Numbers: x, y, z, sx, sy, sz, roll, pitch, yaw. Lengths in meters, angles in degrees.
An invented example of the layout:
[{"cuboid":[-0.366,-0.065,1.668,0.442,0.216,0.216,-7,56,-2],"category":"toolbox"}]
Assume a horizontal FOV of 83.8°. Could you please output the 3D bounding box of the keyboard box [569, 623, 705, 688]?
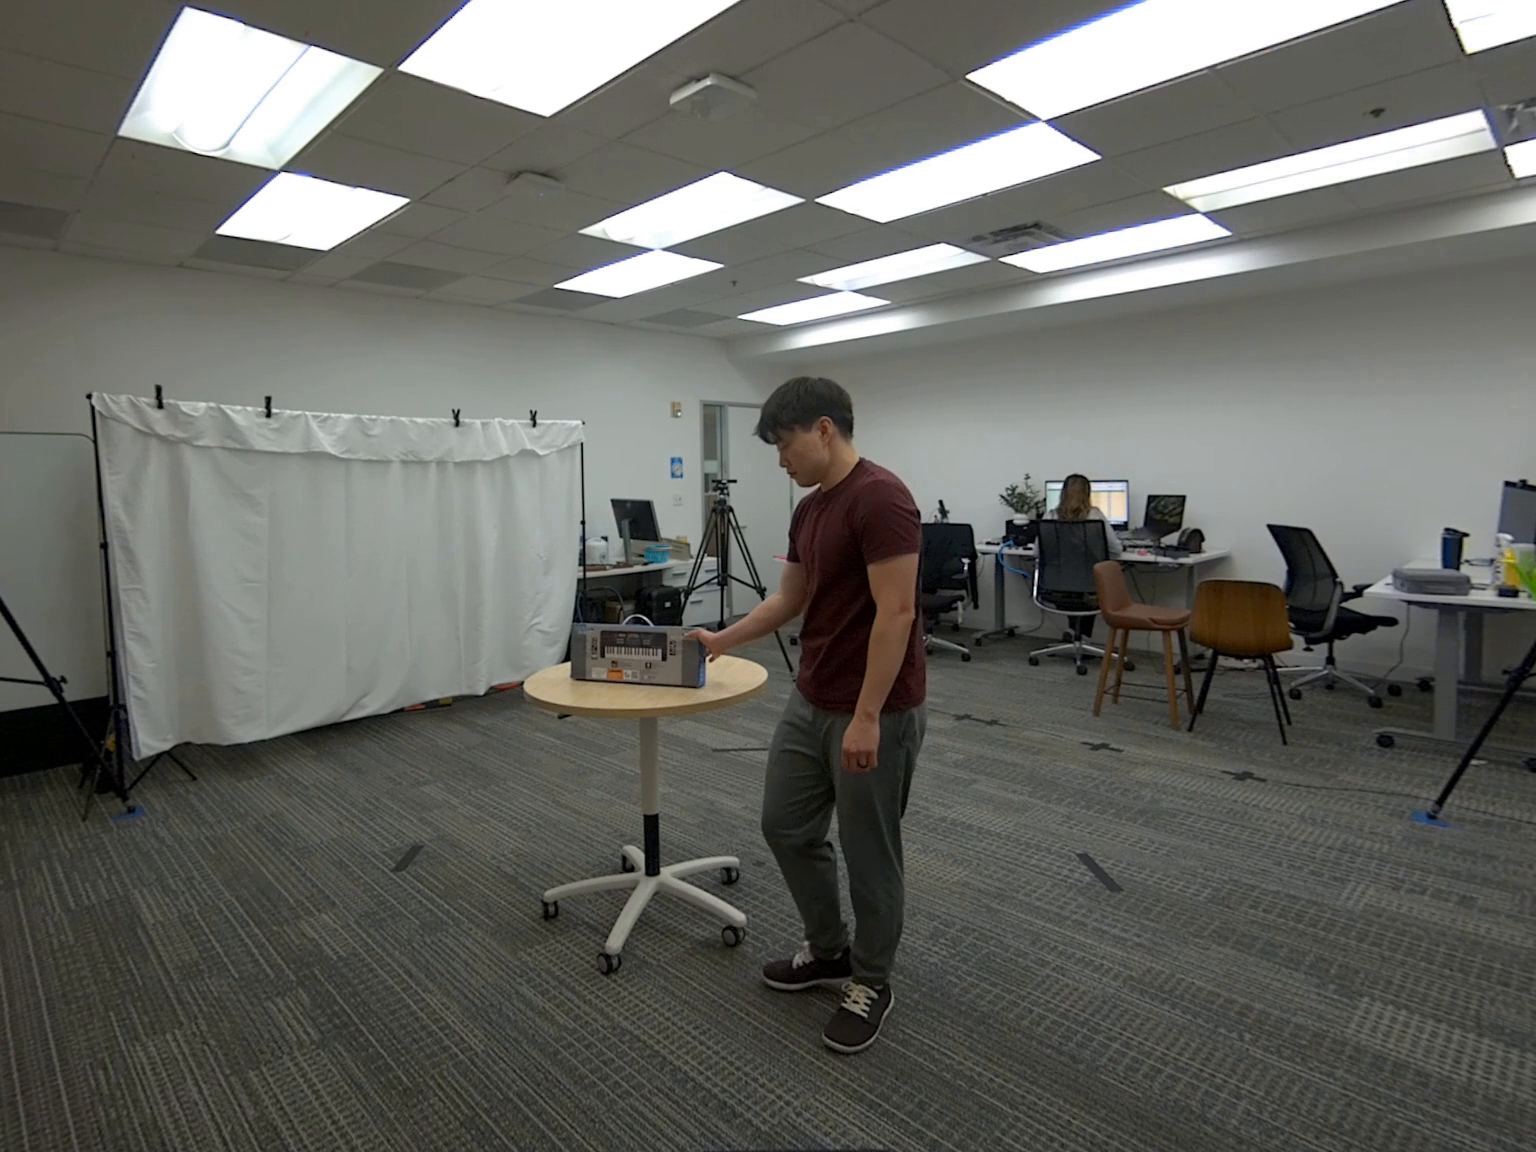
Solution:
[{"cuboid":[-0.406,0.240,2.626,0.445,0.176,0.058,0,-3,19],"category":"keyboard box"}]
